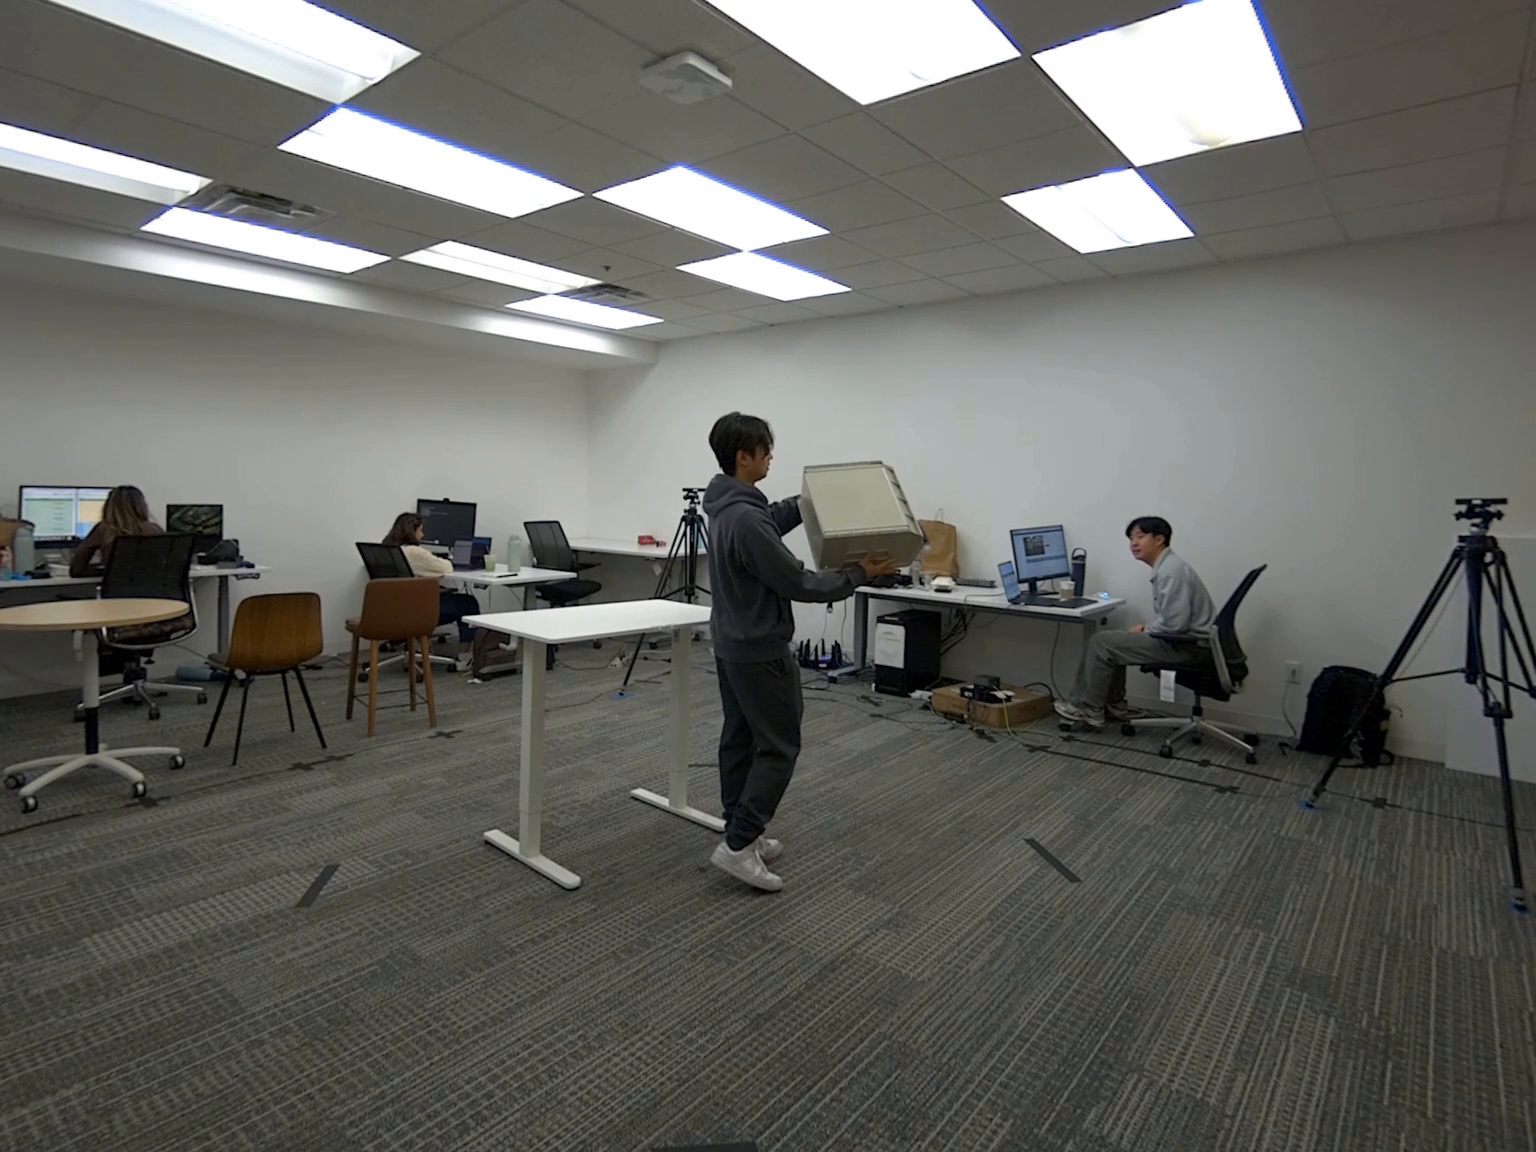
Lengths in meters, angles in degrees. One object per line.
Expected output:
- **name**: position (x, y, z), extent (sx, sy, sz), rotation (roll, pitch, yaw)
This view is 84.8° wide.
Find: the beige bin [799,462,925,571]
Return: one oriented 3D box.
- **beige bin**: position (0.331, -0.232, 3.209), extent (0.375, 0.184, 0.437), rotation (-4, 46, -6)
